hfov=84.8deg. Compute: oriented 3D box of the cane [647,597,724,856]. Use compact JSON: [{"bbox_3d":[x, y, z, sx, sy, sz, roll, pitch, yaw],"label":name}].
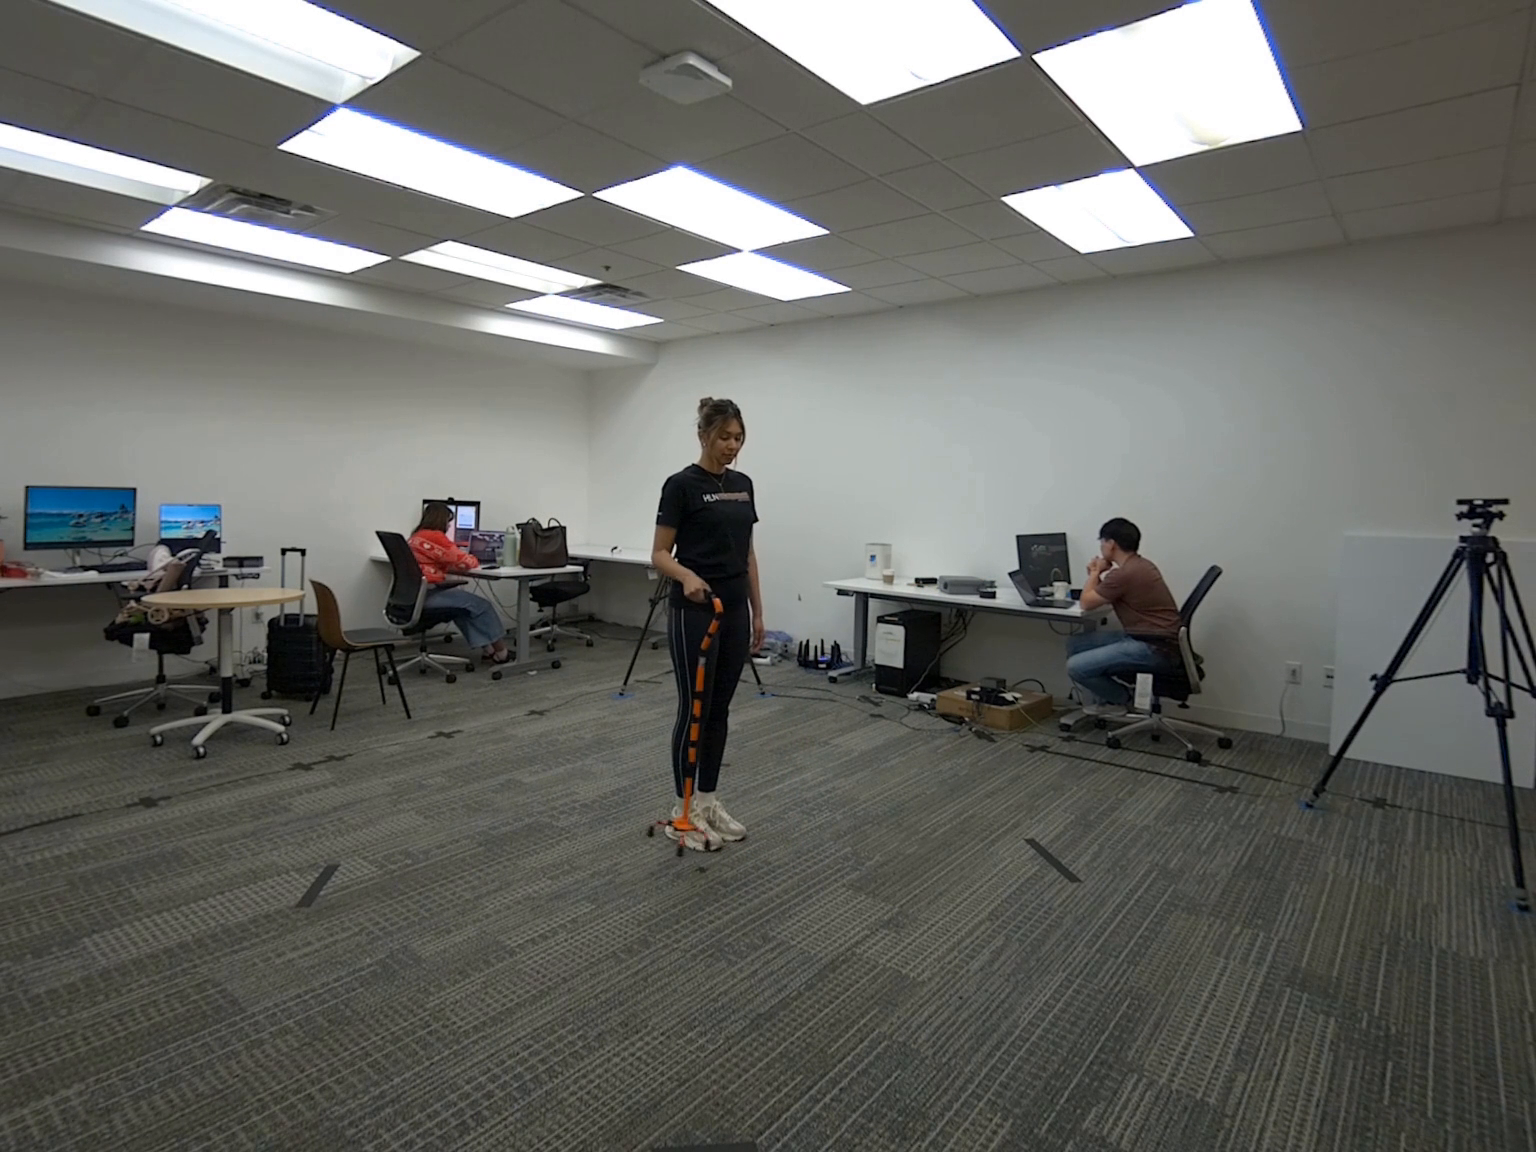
[{"bbox_3d":[-0.278,0.487,3.028,0.214,0.905,0.147,9,5,43],"label":"cane"}]
